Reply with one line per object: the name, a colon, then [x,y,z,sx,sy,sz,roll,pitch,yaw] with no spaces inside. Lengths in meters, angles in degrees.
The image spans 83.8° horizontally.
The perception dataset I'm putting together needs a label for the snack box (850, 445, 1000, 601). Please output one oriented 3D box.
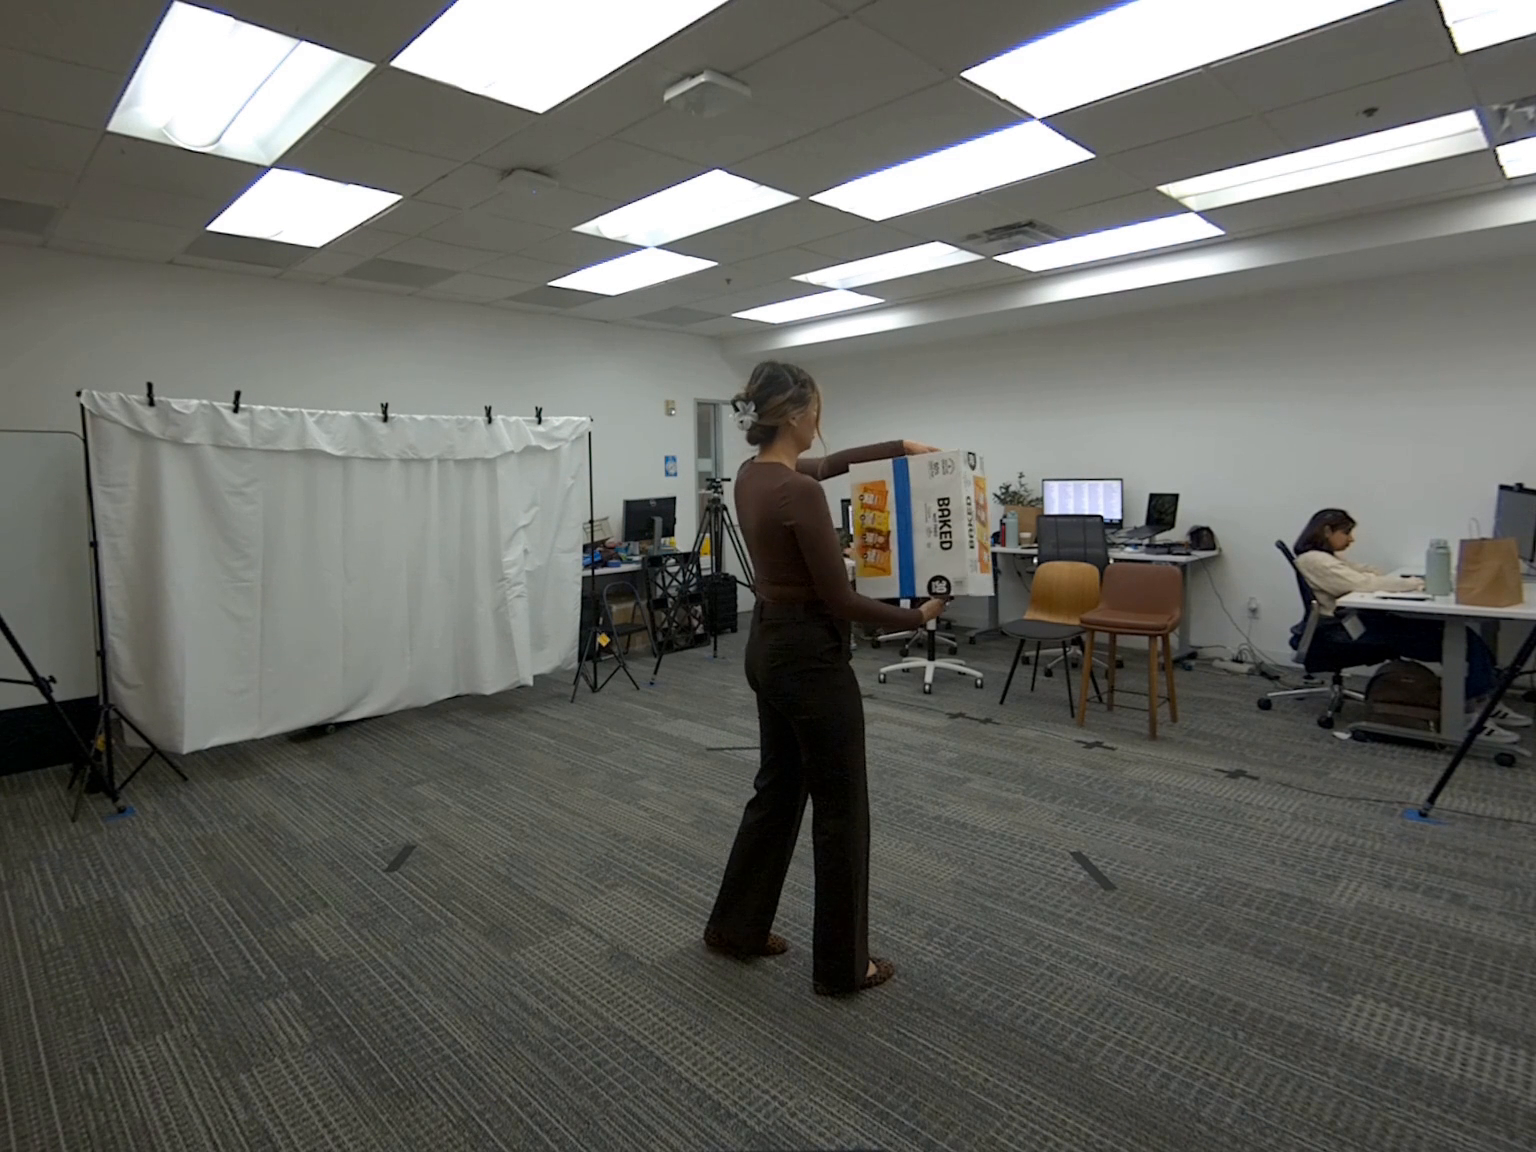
snack box: [0.449,-0.142,2.477,0.349,0.407,0.200,-6,-5,36]
